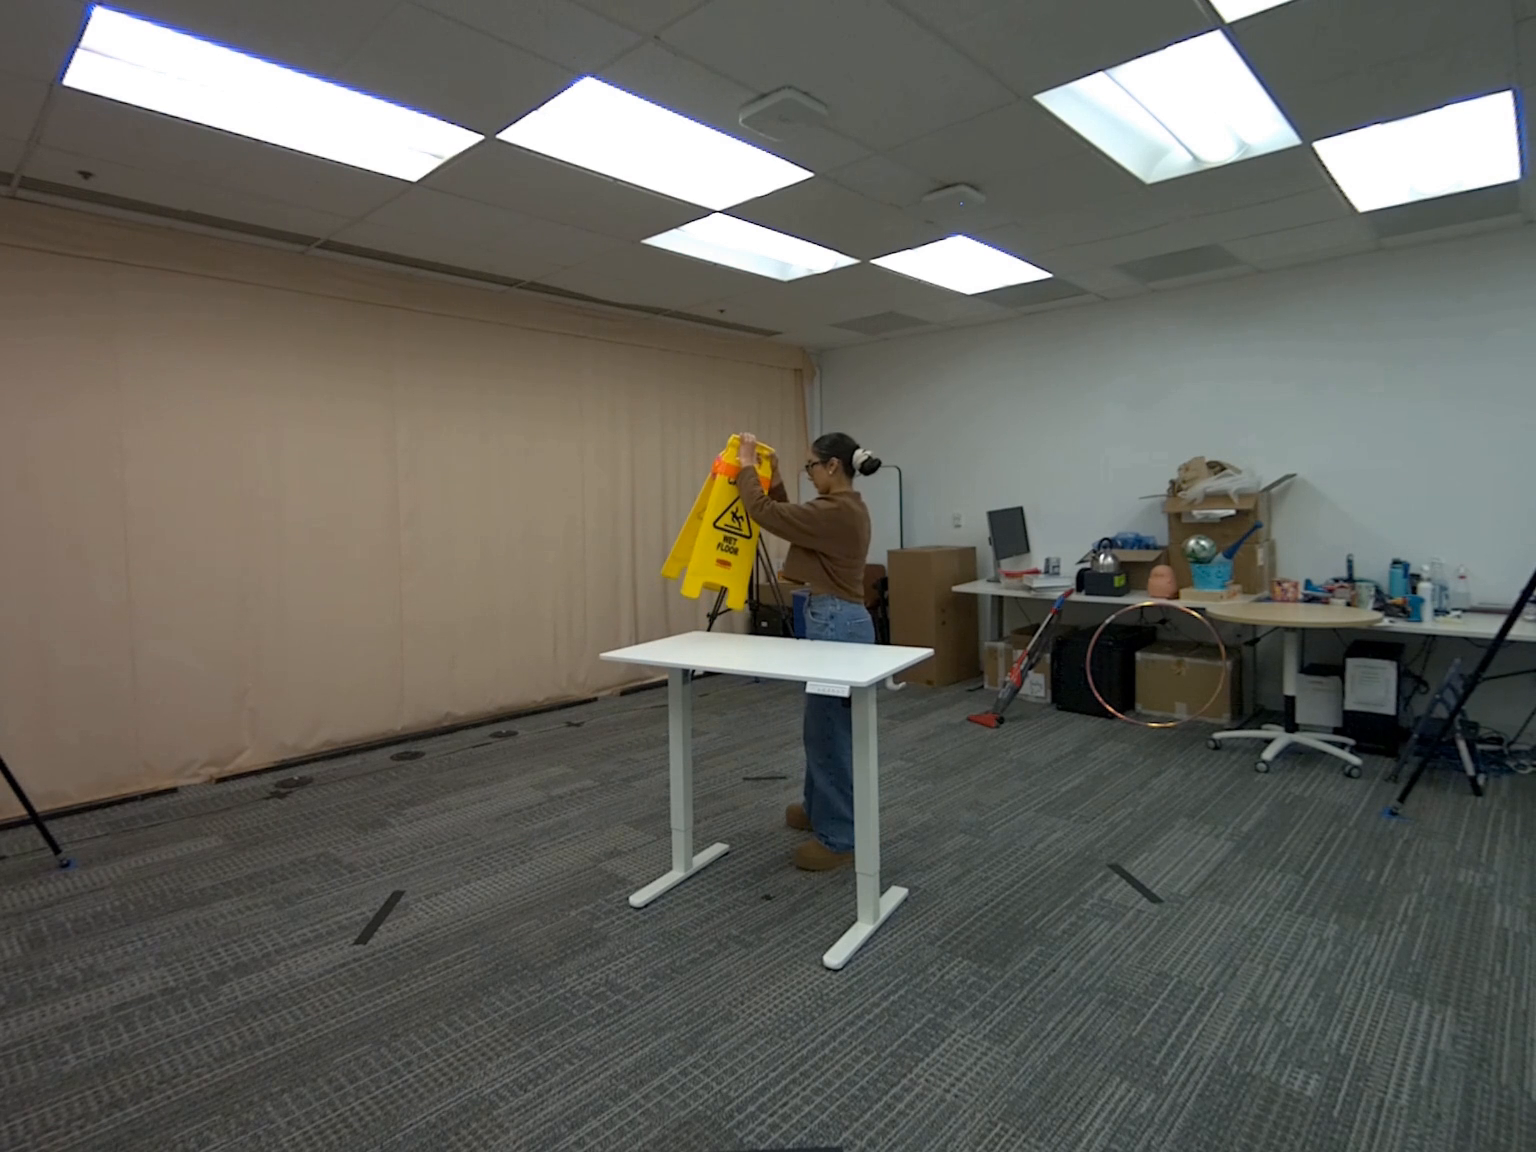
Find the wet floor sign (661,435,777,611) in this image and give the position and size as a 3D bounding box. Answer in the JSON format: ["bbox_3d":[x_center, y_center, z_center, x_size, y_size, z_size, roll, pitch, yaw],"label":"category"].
[{"bbox_3d":[-0.158,-0.224,3.390,0.274,0.645,0.298,16,8,-26],"label":"wet floor sign"}]
